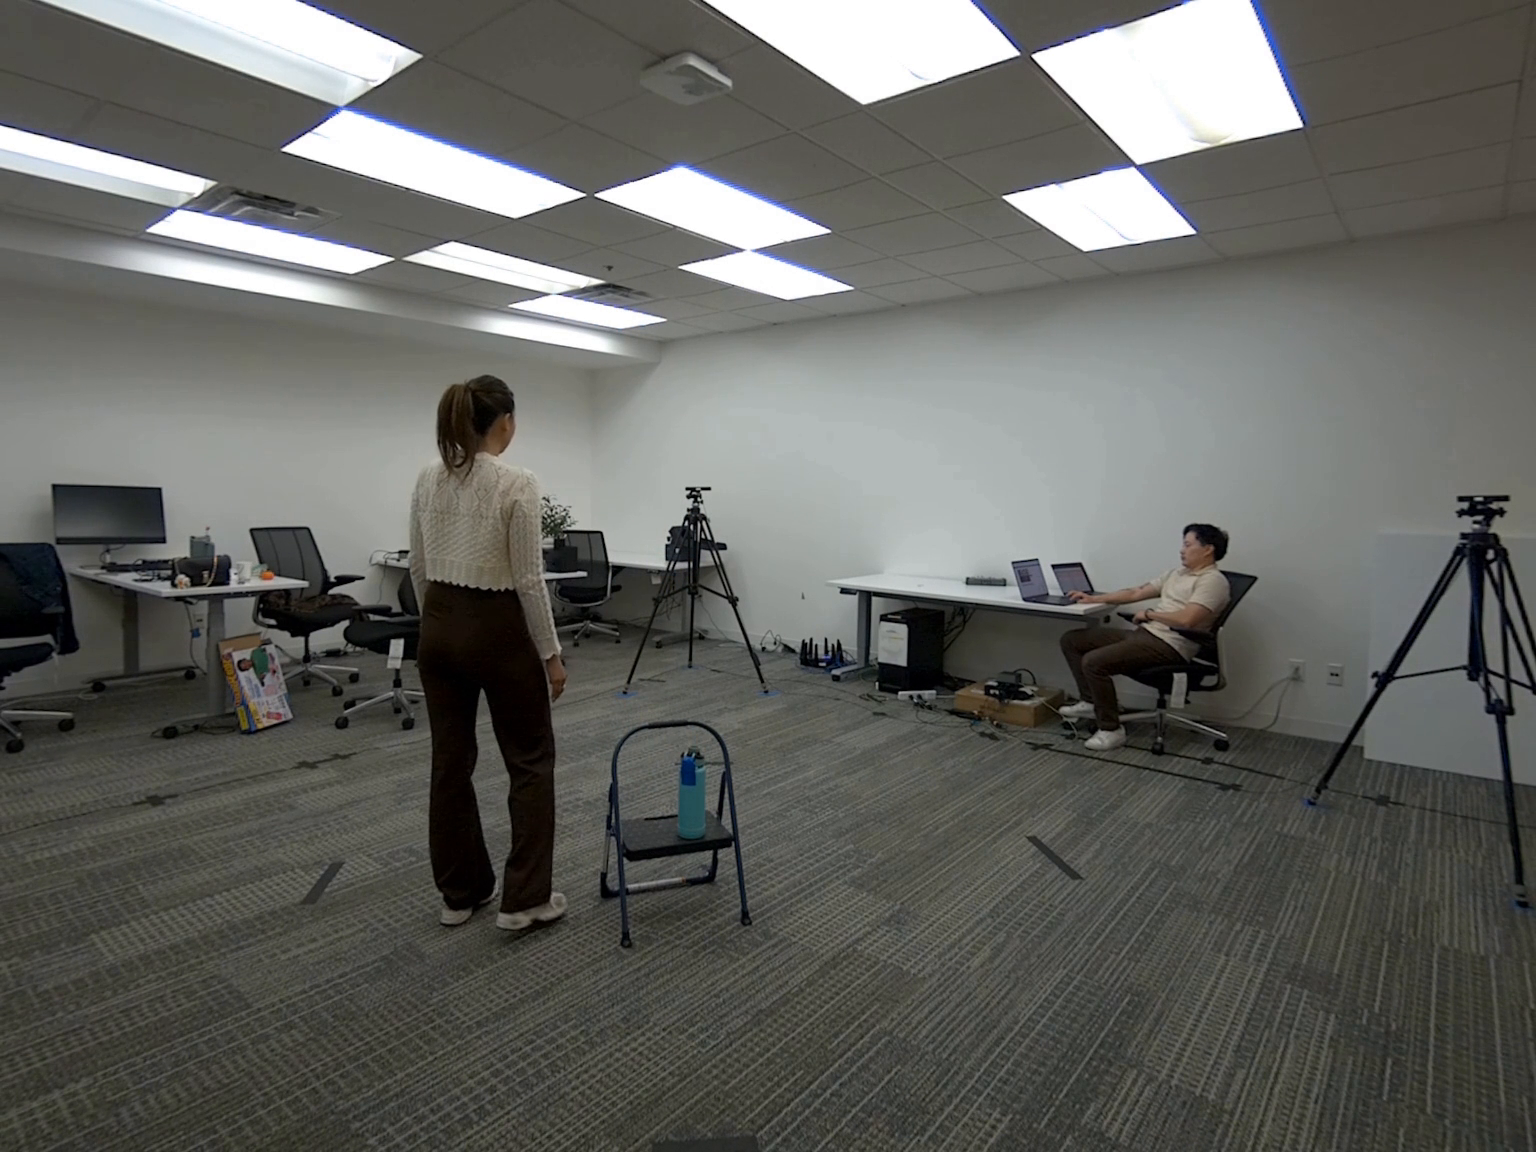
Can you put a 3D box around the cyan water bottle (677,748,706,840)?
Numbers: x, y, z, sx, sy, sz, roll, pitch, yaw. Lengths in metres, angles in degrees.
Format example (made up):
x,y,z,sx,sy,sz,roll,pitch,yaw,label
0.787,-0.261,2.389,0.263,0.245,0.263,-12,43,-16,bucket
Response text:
x,y,z,sx,sy,sz,roll,pitch,yaw,label
-0.259,0.706,2.750,0.092,0.282,0.093,0,6,-2,cyan water bottle
